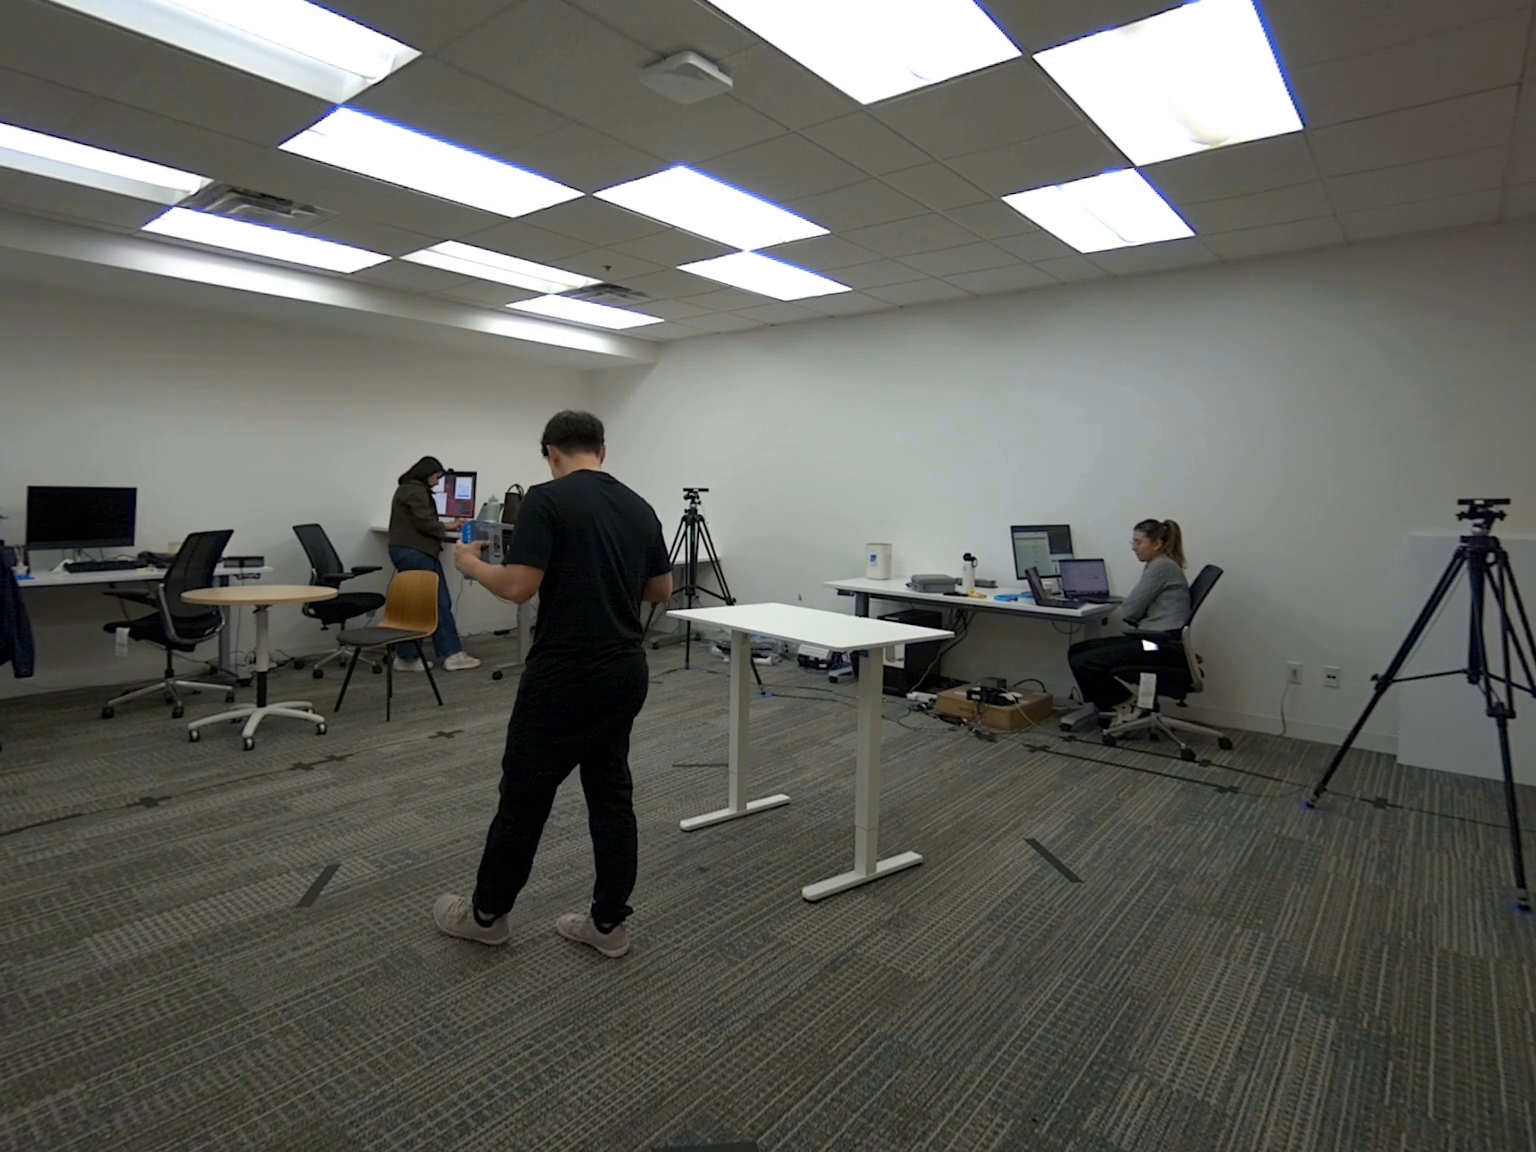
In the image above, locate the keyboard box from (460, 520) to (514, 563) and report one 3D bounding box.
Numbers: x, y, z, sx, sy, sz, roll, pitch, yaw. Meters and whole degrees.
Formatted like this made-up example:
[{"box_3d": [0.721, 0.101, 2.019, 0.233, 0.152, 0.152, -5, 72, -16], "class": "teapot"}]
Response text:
[{"box_3d": [-0.765, -0.061, 2.682, 0.060, 0.178, 0.421, -18, -16, 38], "class": "keyboard box"}]
